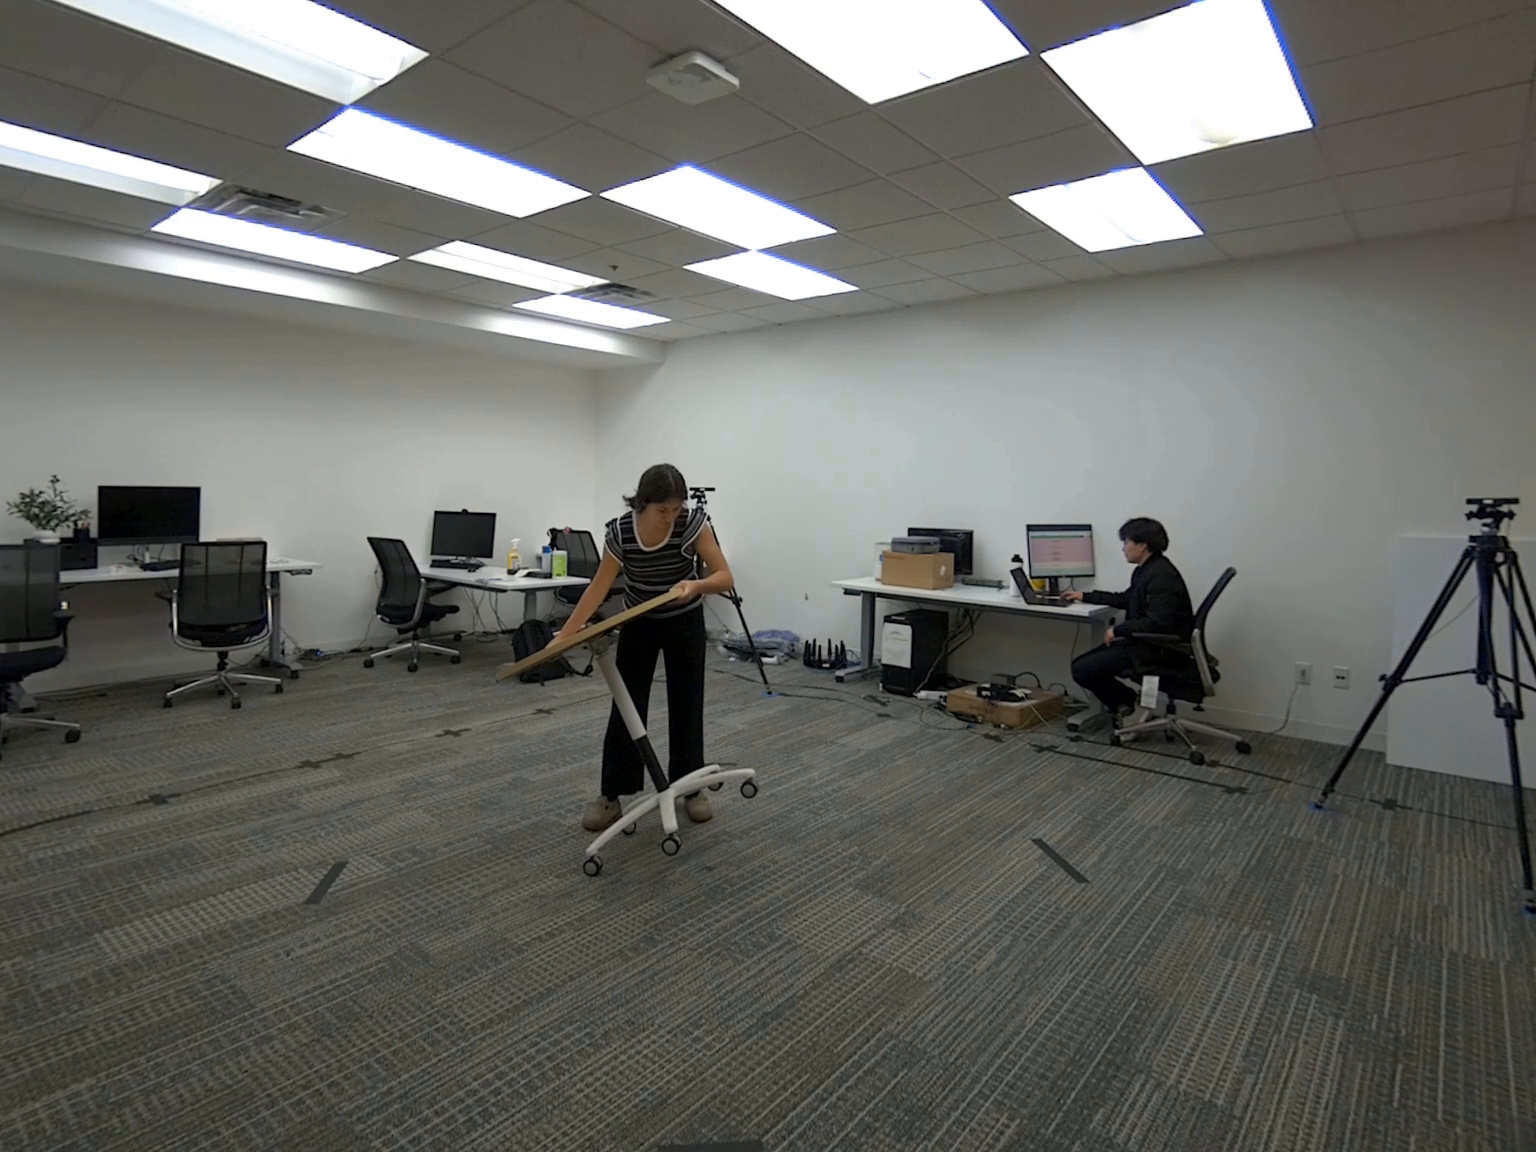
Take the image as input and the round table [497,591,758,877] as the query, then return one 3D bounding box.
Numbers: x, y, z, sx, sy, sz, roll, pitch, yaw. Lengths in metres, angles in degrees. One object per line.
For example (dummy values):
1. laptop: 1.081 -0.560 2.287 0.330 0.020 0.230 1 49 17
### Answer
1. round table: -0.492 0.559 3.203 0.784 0.789 0.784 -24 -1 -2
